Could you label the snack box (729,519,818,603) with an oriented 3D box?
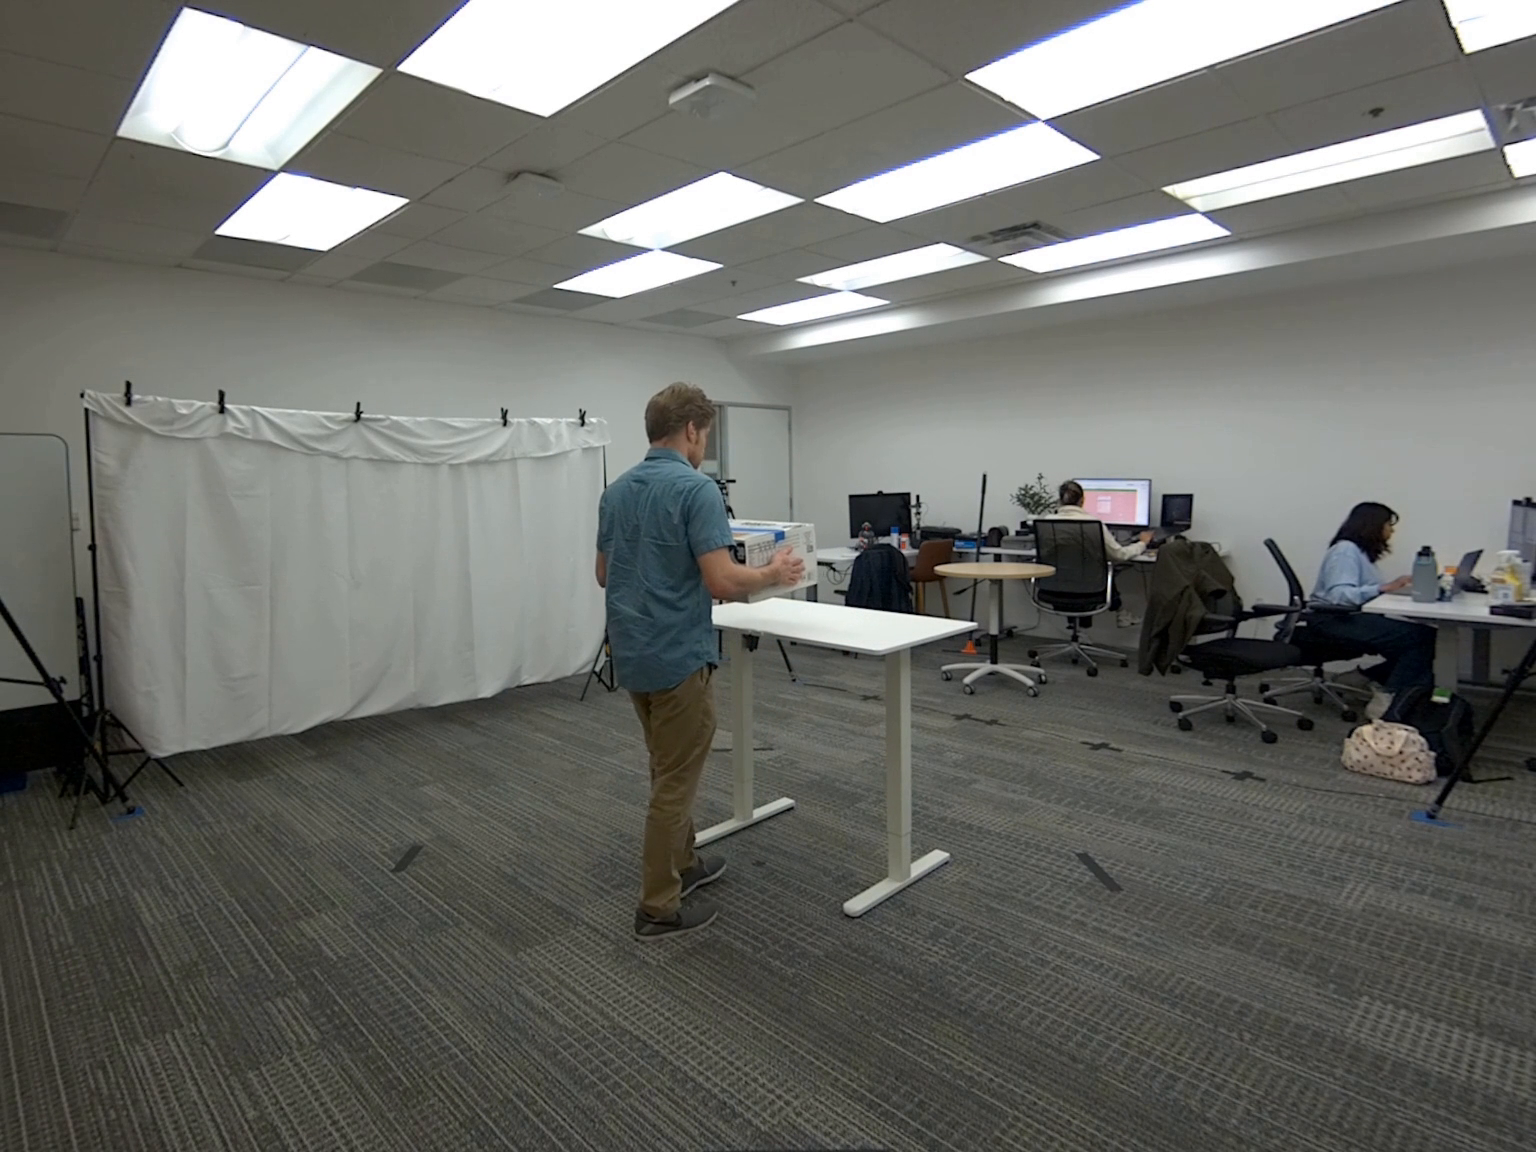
[{"bbox_3d":[-0.101,-0.060,2.847,0.418,0.204,0.333,6,14,43],"label":"snack box"}]
